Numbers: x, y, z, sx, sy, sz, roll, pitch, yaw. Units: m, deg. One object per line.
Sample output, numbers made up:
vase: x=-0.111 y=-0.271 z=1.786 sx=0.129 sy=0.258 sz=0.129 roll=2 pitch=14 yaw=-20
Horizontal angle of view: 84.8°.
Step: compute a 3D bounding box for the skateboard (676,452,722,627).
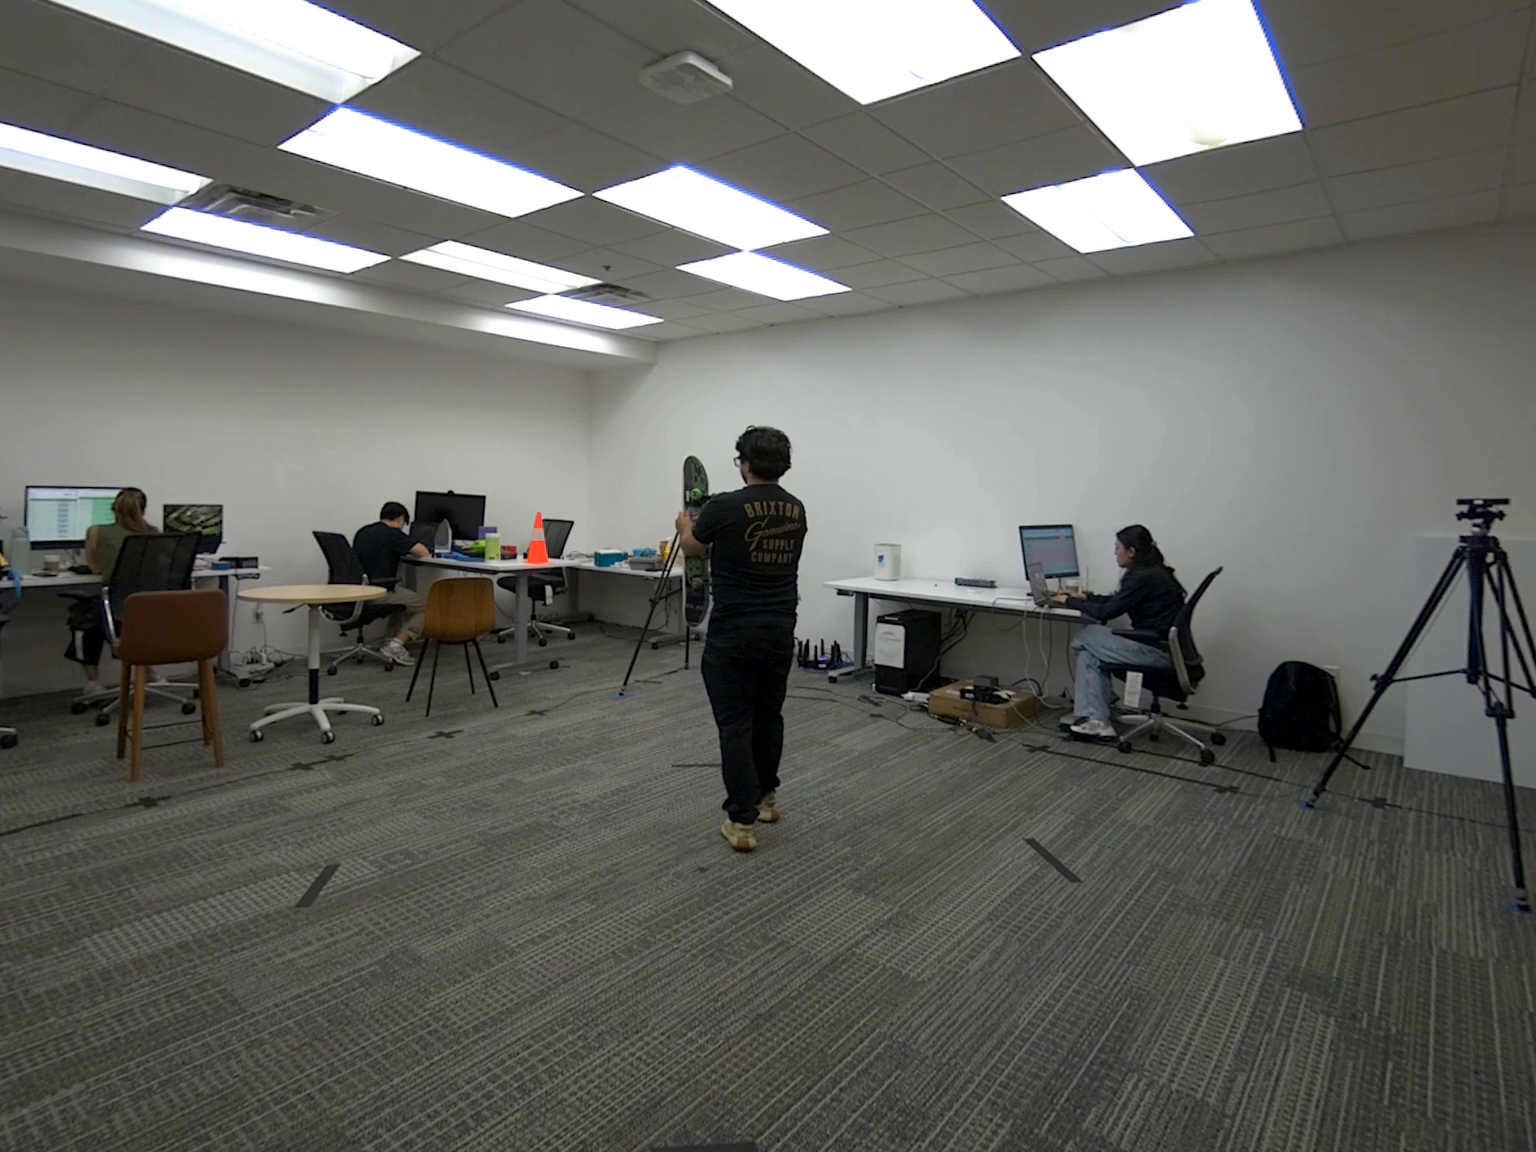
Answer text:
skateboard: x=-0.317 y=-0.165 z=3.876 sx=0.113 sy=0.789 sz=0.187 roll=-5 pitch=-6 yaw=35
